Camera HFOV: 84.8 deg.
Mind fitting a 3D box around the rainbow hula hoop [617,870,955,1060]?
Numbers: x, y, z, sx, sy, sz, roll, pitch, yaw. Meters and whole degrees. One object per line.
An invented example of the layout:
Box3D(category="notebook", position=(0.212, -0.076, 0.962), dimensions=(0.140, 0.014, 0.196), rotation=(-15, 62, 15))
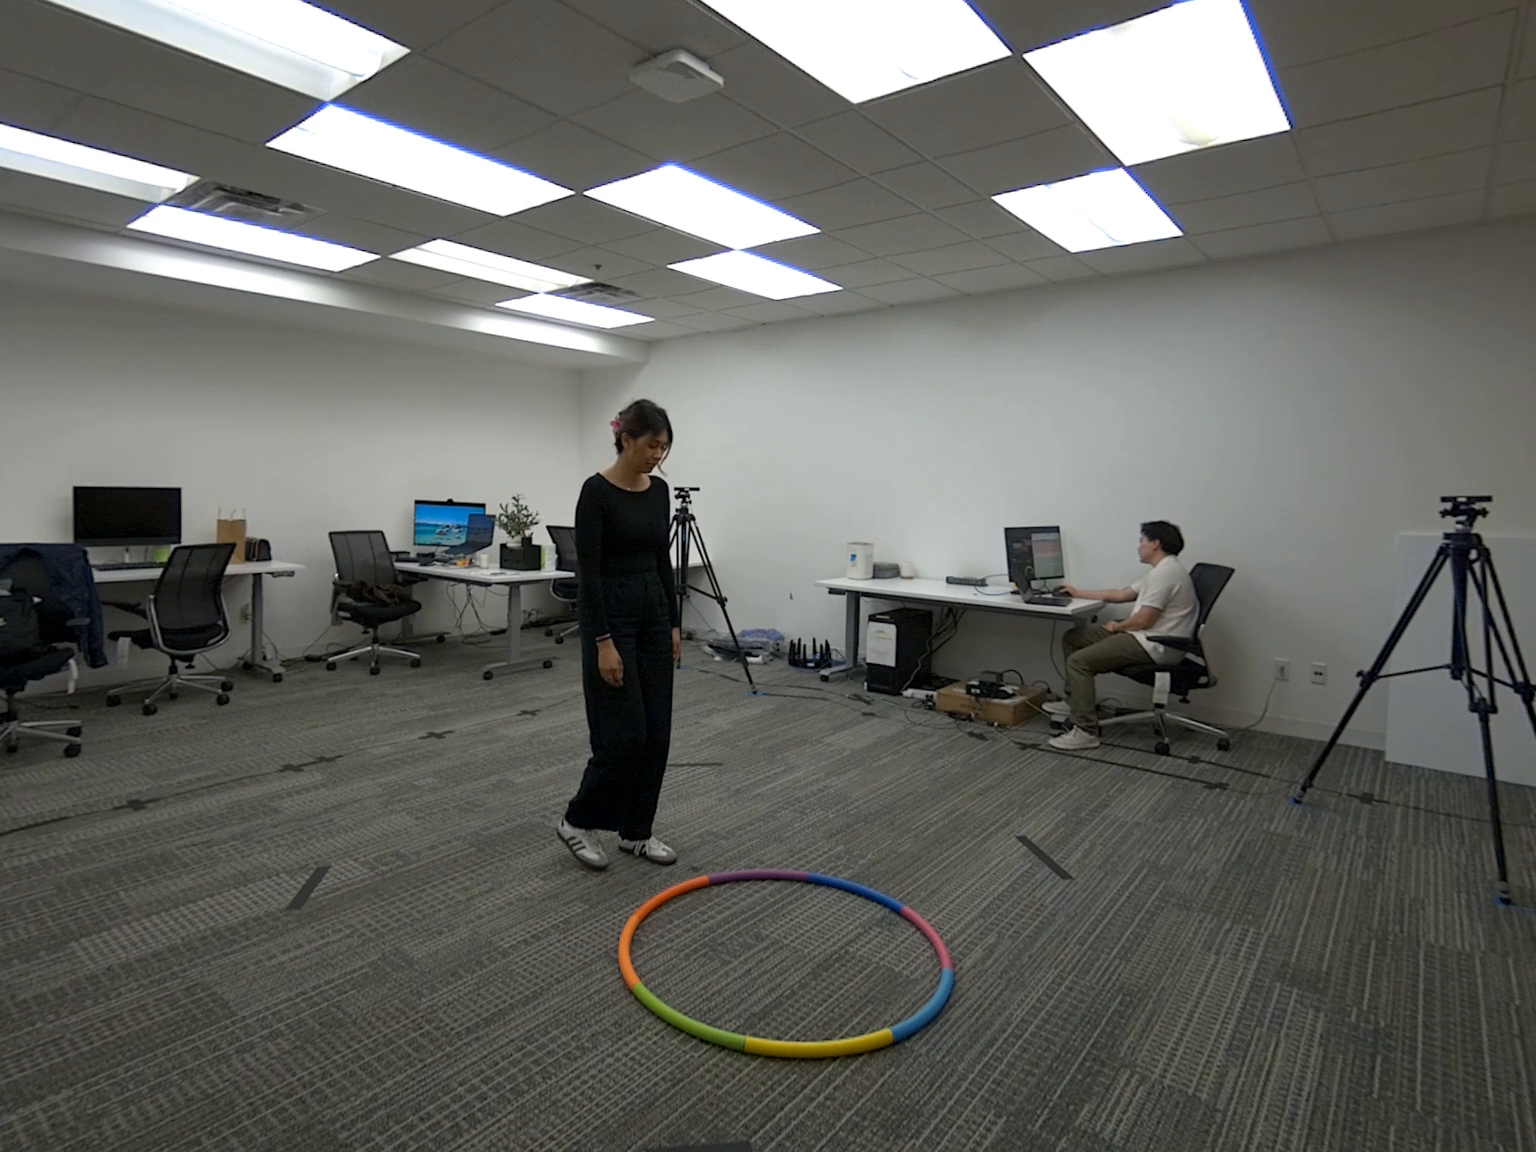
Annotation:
Box3D(category="rainbow hula hoop", position=(0.038, 1.096, 2.561), dimensions=(0.978, 0.035, 0.984), rotation=(1, 6, -2))
